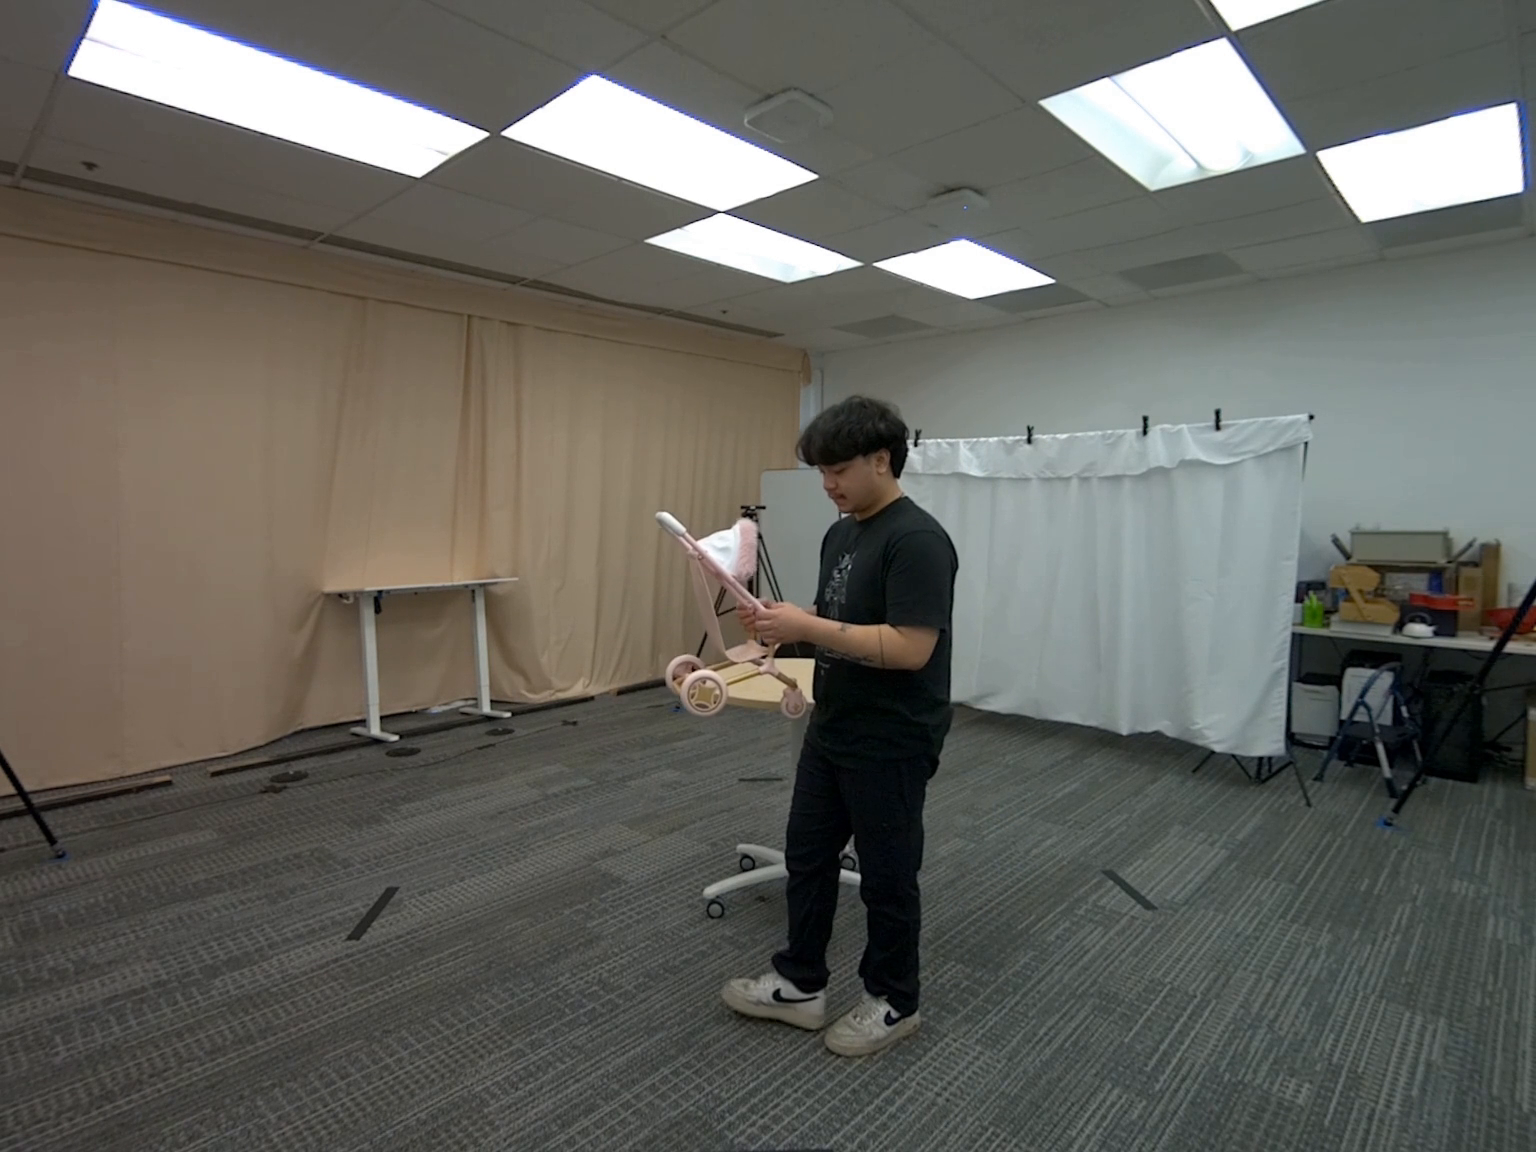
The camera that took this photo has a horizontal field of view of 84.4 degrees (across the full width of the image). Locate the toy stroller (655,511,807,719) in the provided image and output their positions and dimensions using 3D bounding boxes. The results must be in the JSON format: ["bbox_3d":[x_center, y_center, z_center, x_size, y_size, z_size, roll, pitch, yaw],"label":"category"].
[{"bbox_3d":[-0.077,0.106,2.057,0.338,0.535,0.284,-4,1,-9],"label":"toy stroller"}]
